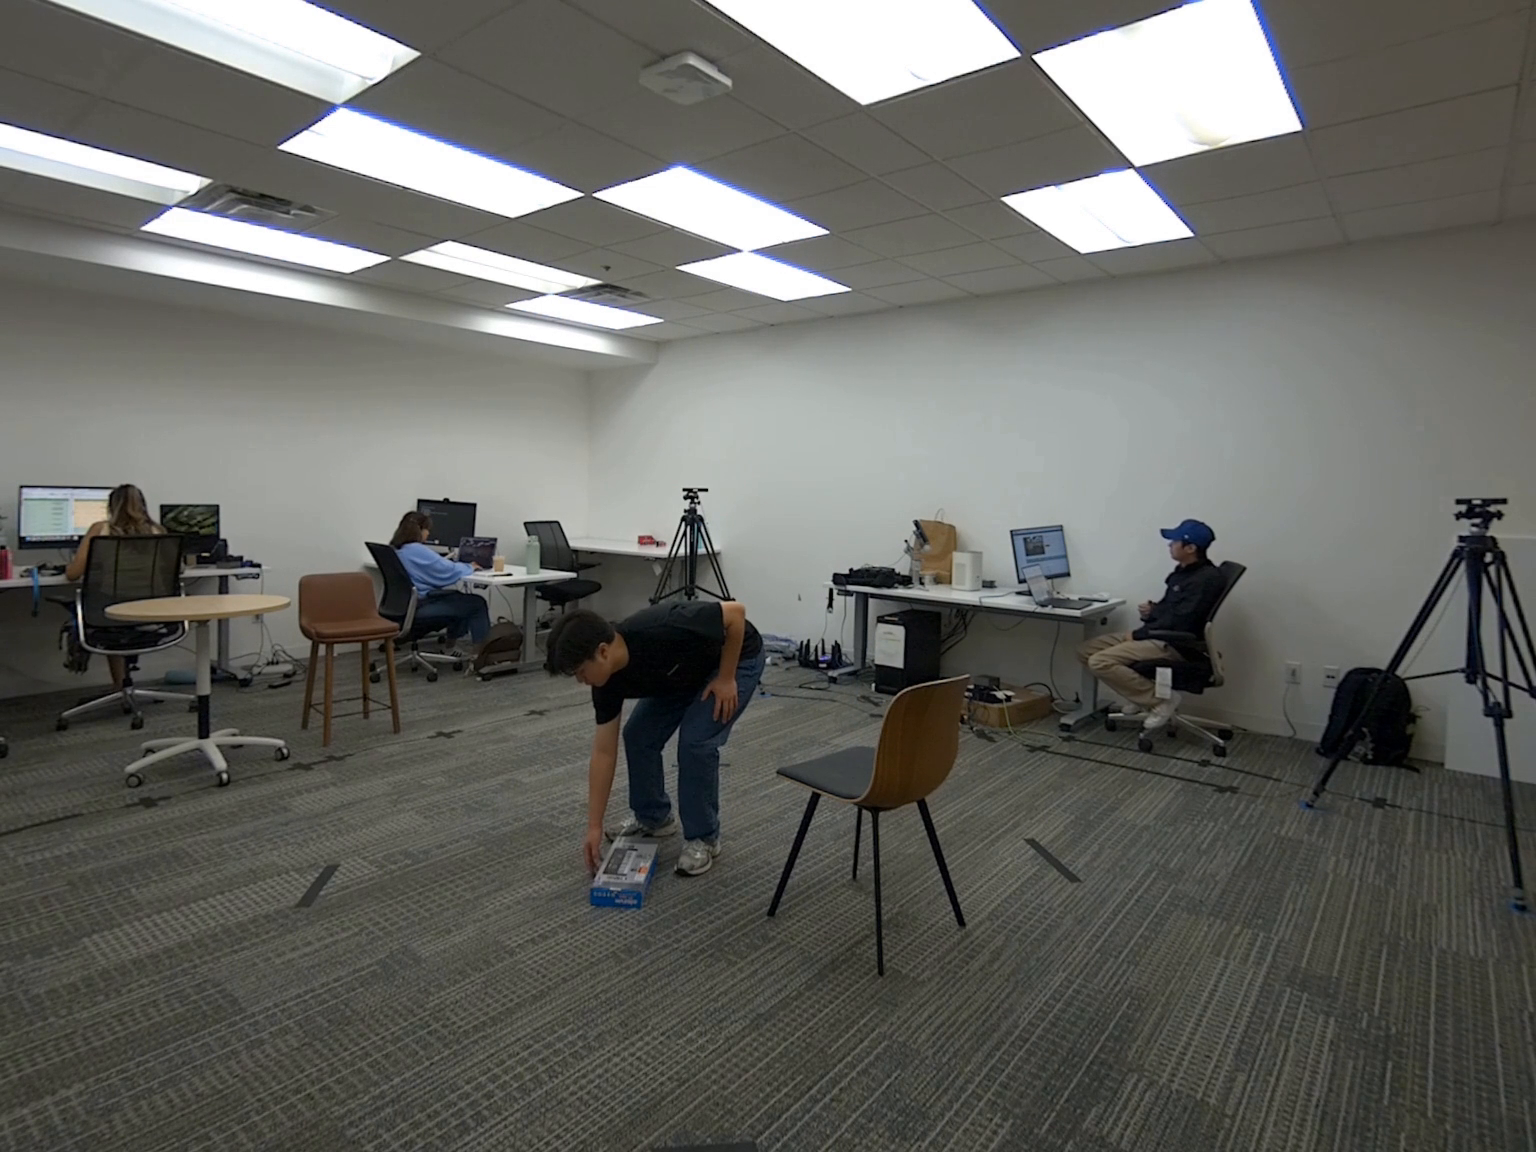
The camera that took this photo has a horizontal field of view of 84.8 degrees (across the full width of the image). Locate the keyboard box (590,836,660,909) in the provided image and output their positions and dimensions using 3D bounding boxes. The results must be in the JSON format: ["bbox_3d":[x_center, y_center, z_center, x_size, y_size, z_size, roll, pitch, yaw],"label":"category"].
[{"bbox_3d":[-0.512,1.044,3.031,0.177,0.059,0.437,1,5,2],"label":"keyboard box"}]
